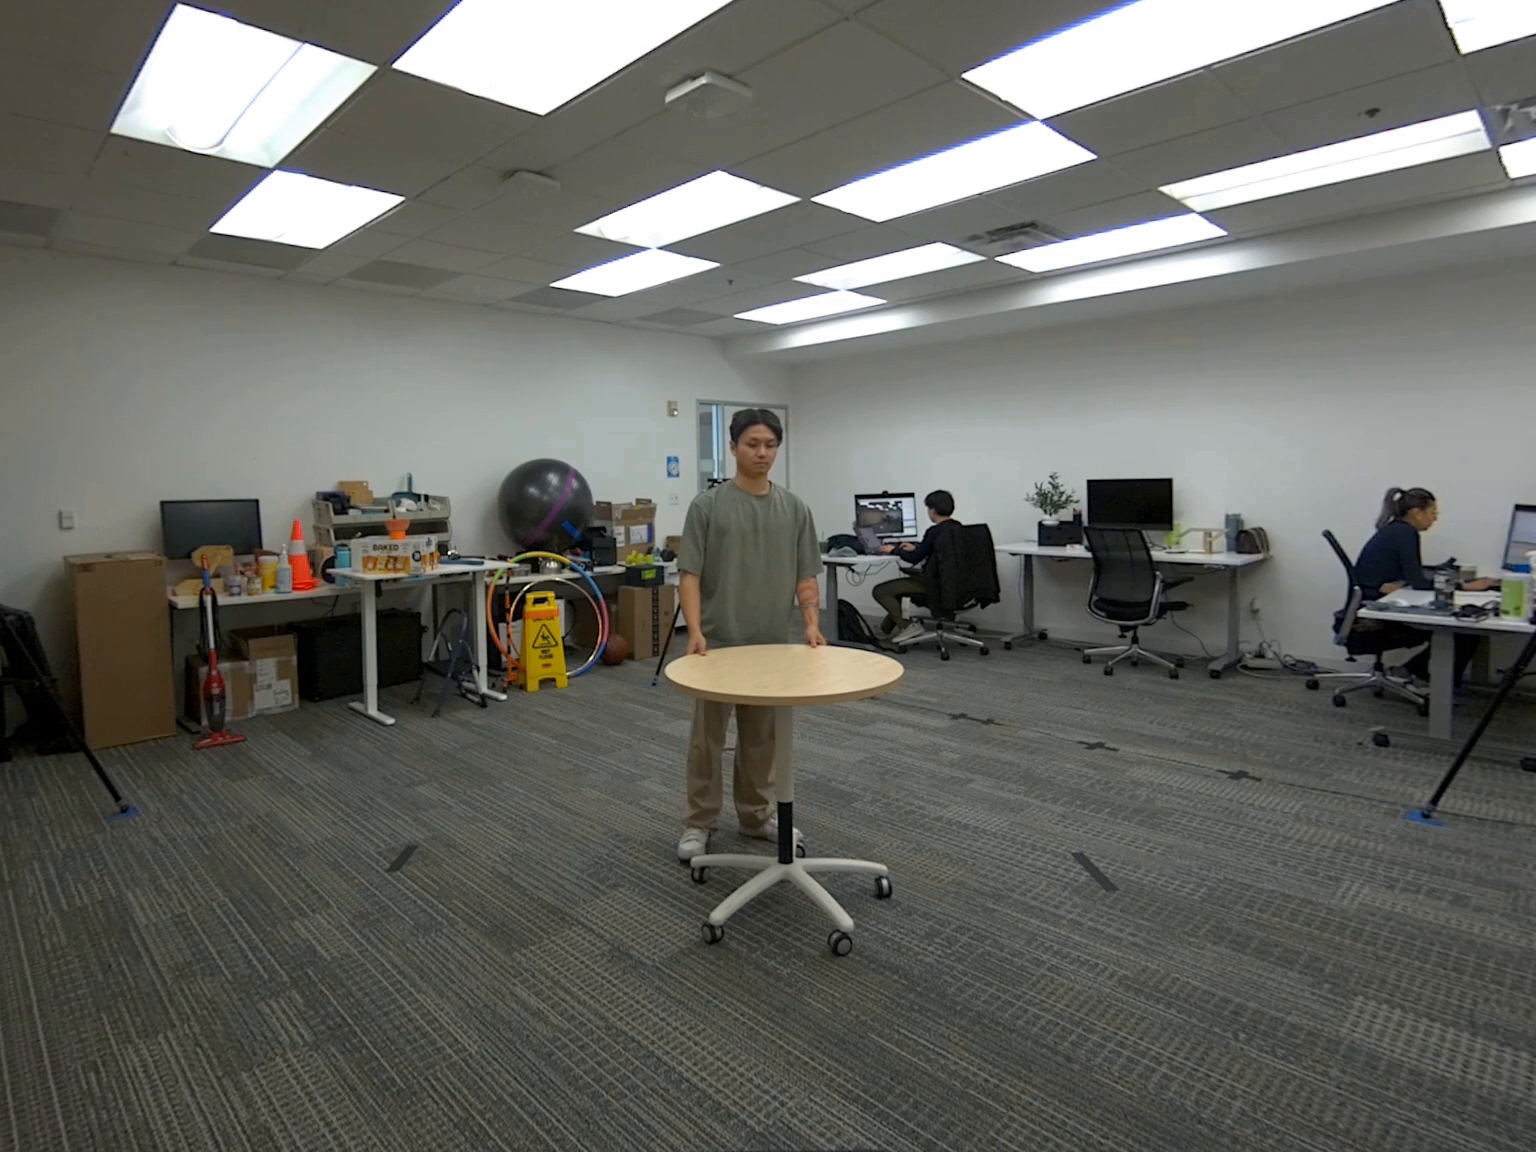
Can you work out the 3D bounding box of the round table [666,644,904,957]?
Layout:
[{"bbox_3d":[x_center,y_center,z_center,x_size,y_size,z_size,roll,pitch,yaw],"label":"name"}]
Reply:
[{"bbox_3d":[0.057,0.689,2.772,0.784,0.784,0.788,-2,4,-2],"label":"round table"}]
